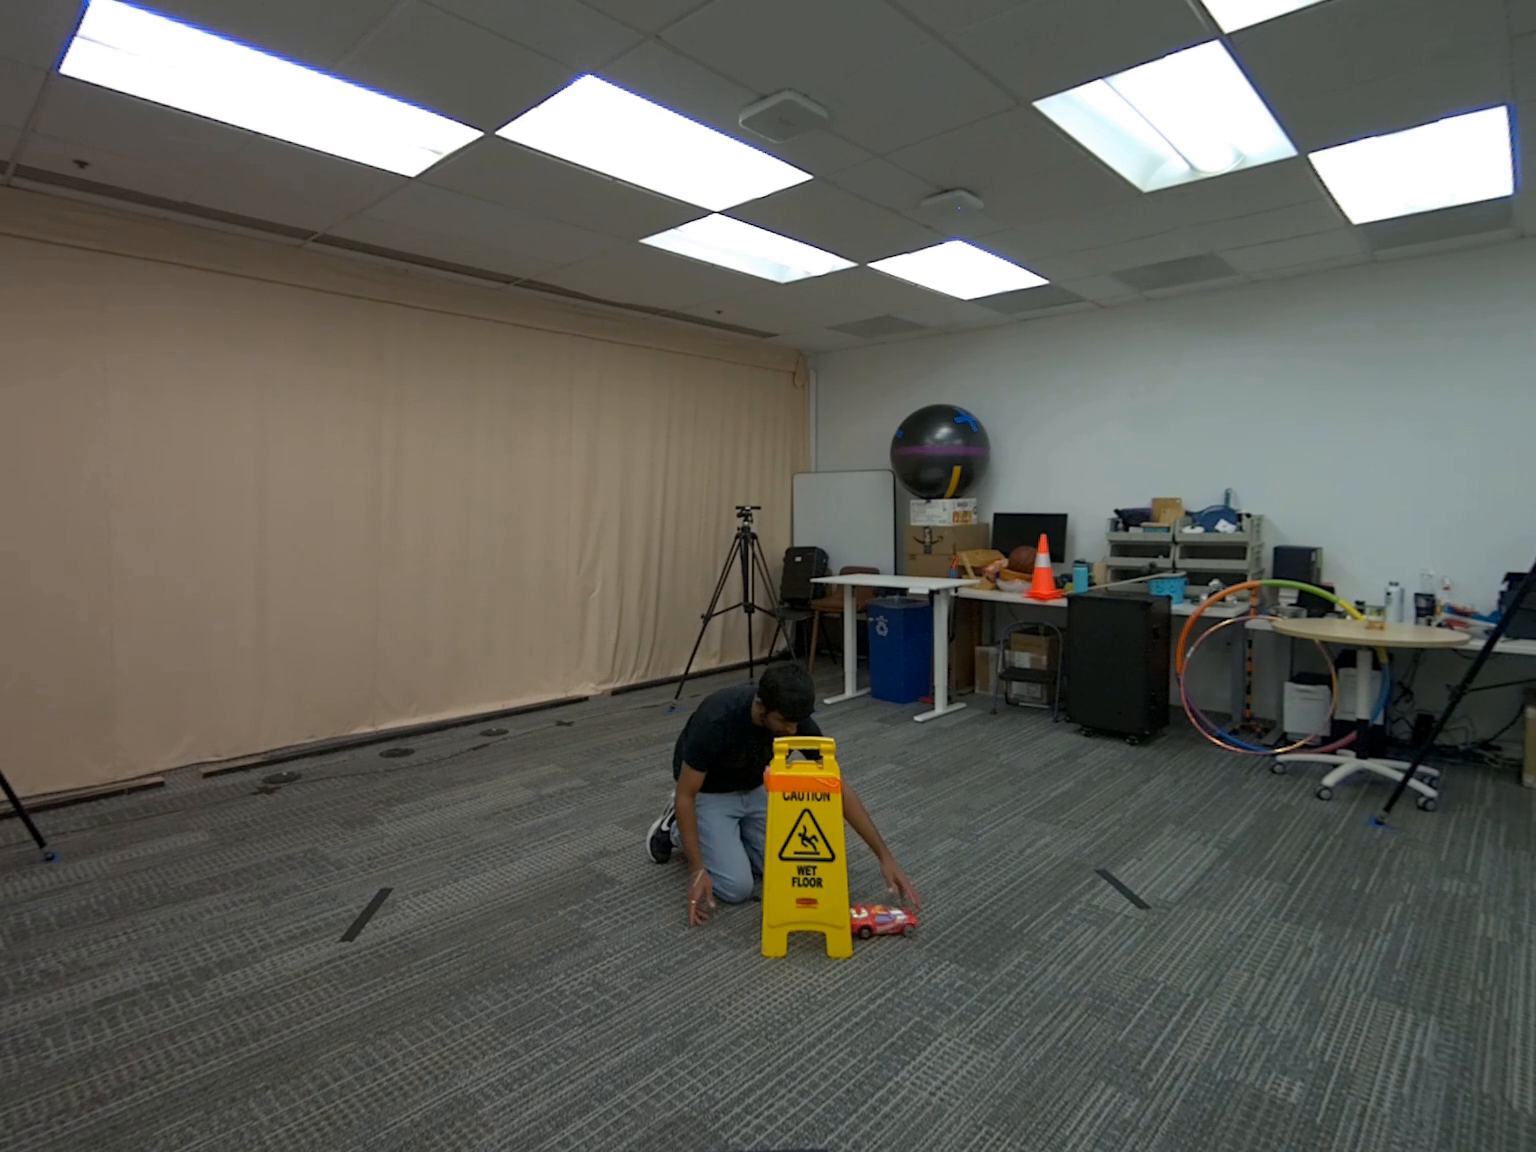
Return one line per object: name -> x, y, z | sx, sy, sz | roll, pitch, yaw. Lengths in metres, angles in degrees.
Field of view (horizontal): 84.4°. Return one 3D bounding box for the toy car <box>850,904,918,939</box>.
toy car -> 0.347, 1.133, 2.750 | 0.253, 0.083, 0.131 | 11, 2, -5
